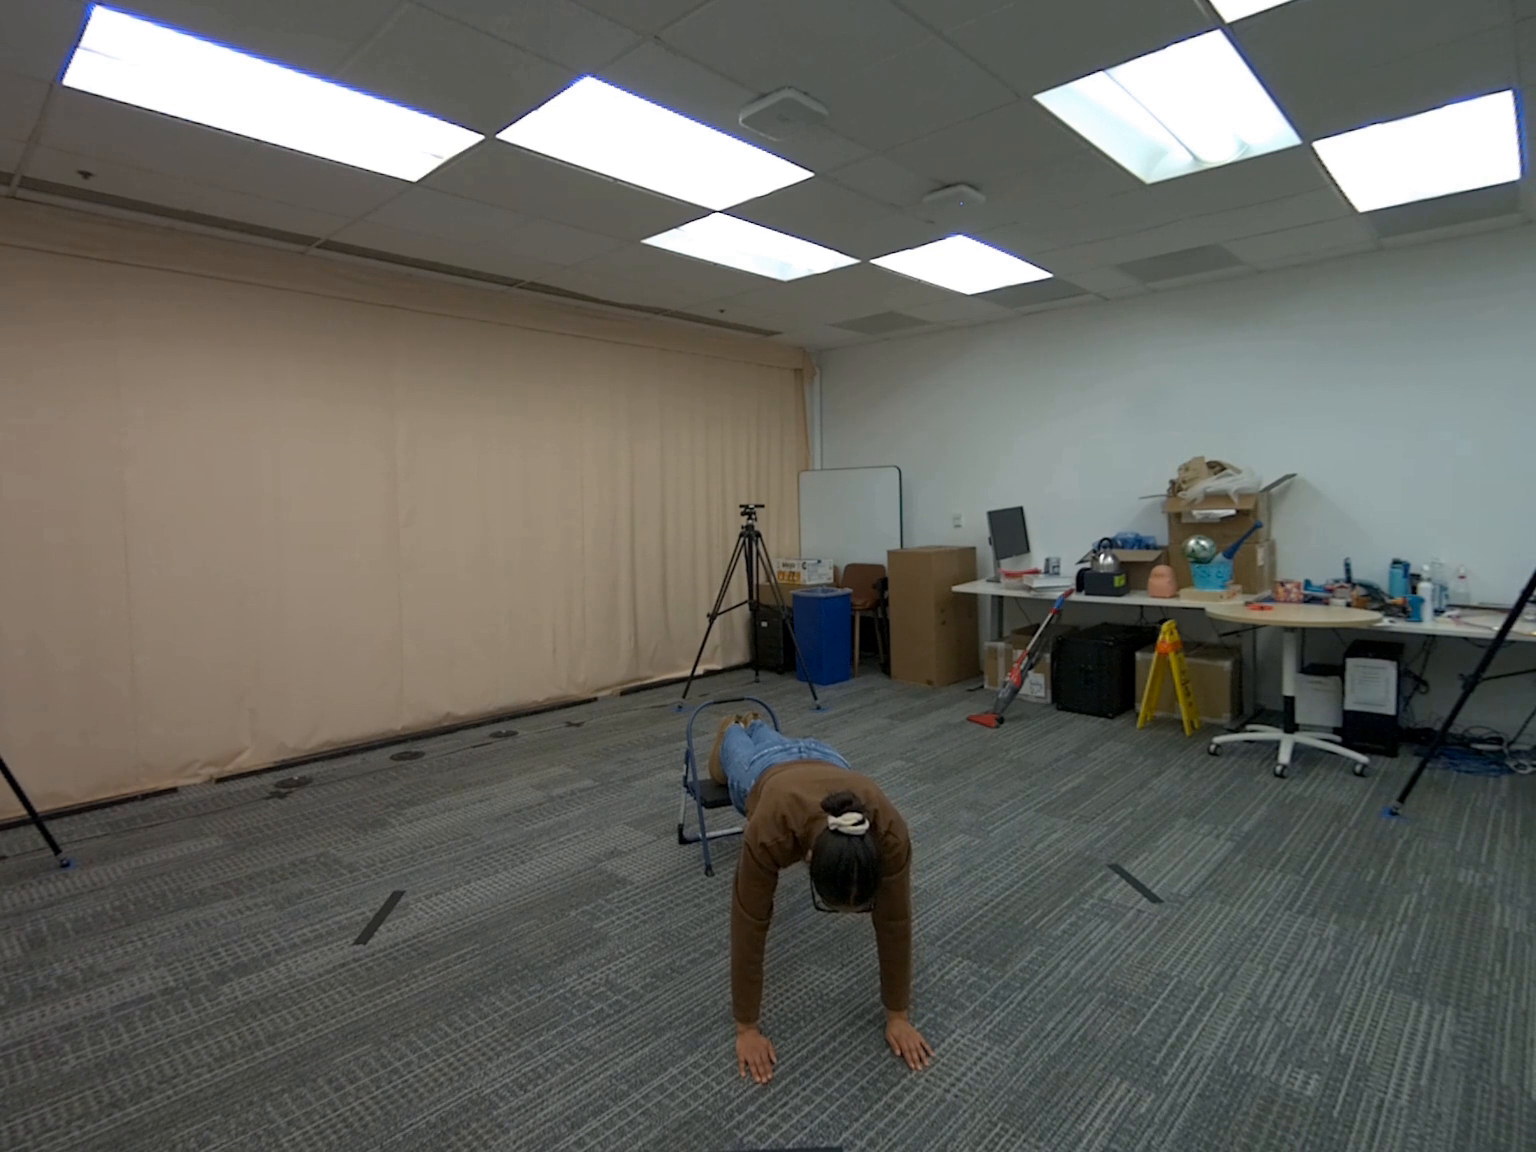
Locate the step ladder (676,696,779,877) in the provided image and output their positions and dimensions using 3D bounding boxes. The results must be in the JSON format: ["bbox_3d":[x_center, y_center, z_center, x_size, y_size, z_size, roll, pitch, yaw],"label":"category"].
[{"bbox_3d":[-0.119,0.808,3.389,0.420,0.605,0.358,-3,4,-25],"label":"step ladder"}]
